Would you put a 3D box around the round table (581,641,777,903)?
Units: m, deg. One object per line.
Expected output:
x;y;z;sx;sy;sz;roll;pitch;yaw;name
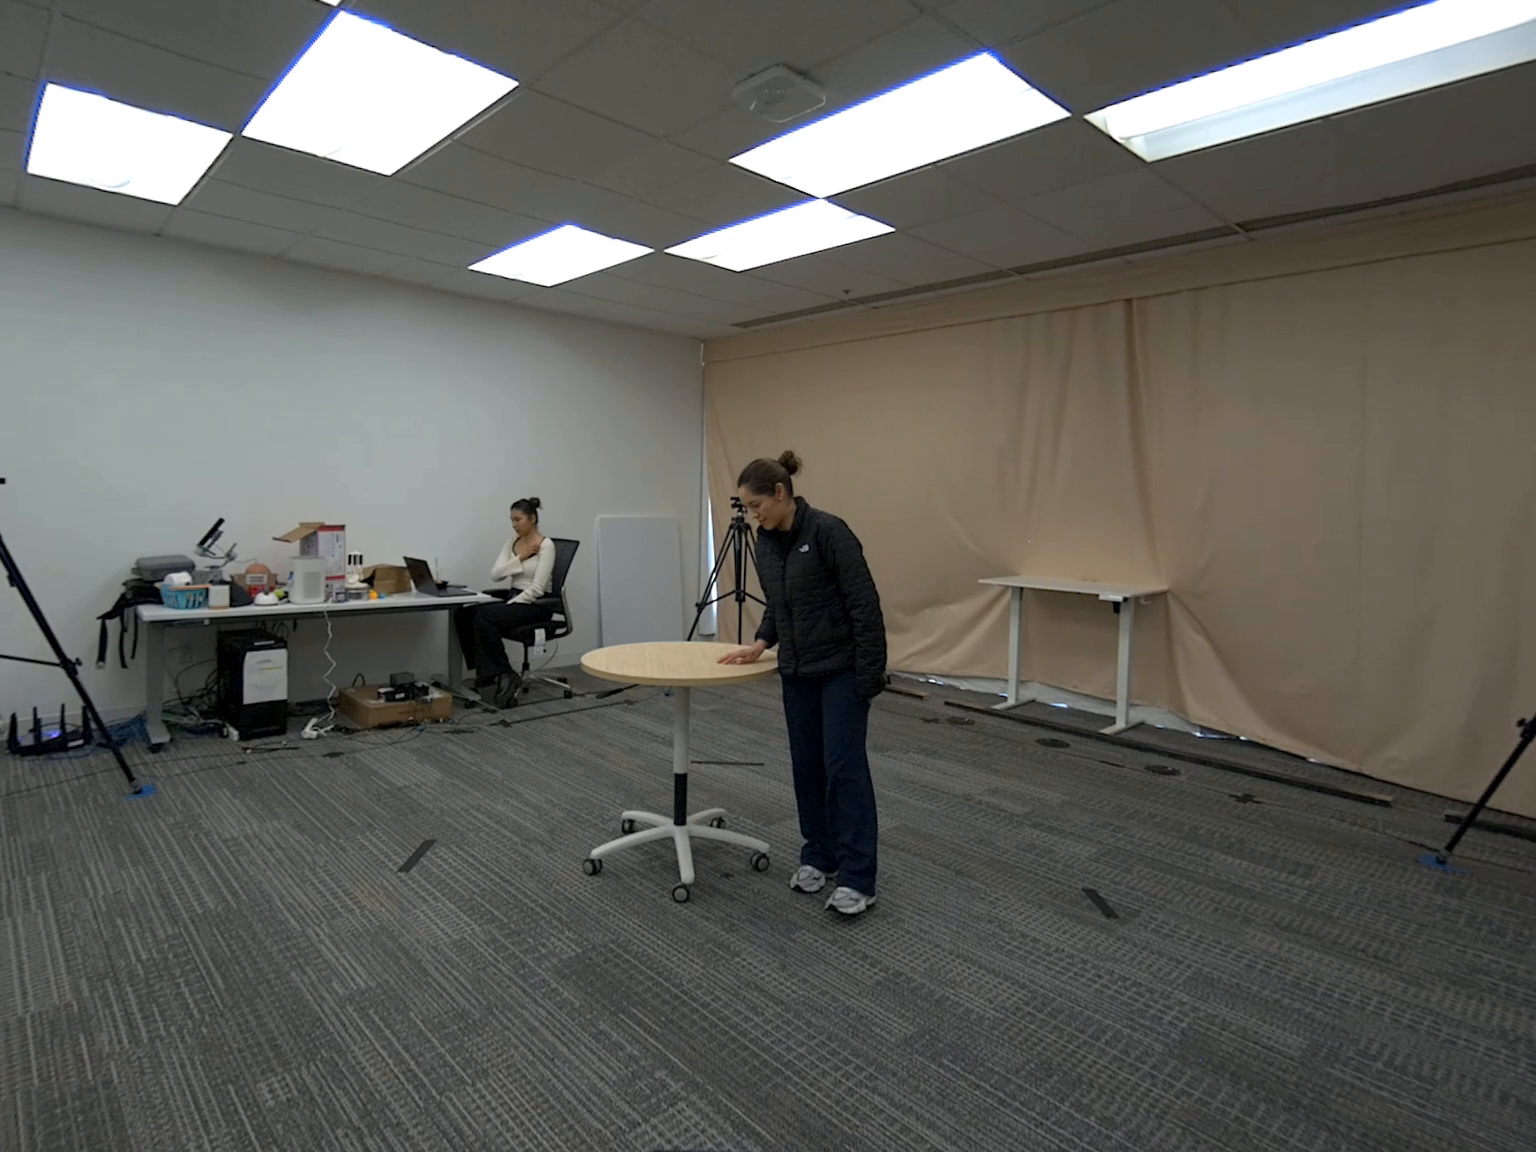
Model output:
-0.327;0.696;3.225;0.784;0.784;0.787;2;4;-1;round table
